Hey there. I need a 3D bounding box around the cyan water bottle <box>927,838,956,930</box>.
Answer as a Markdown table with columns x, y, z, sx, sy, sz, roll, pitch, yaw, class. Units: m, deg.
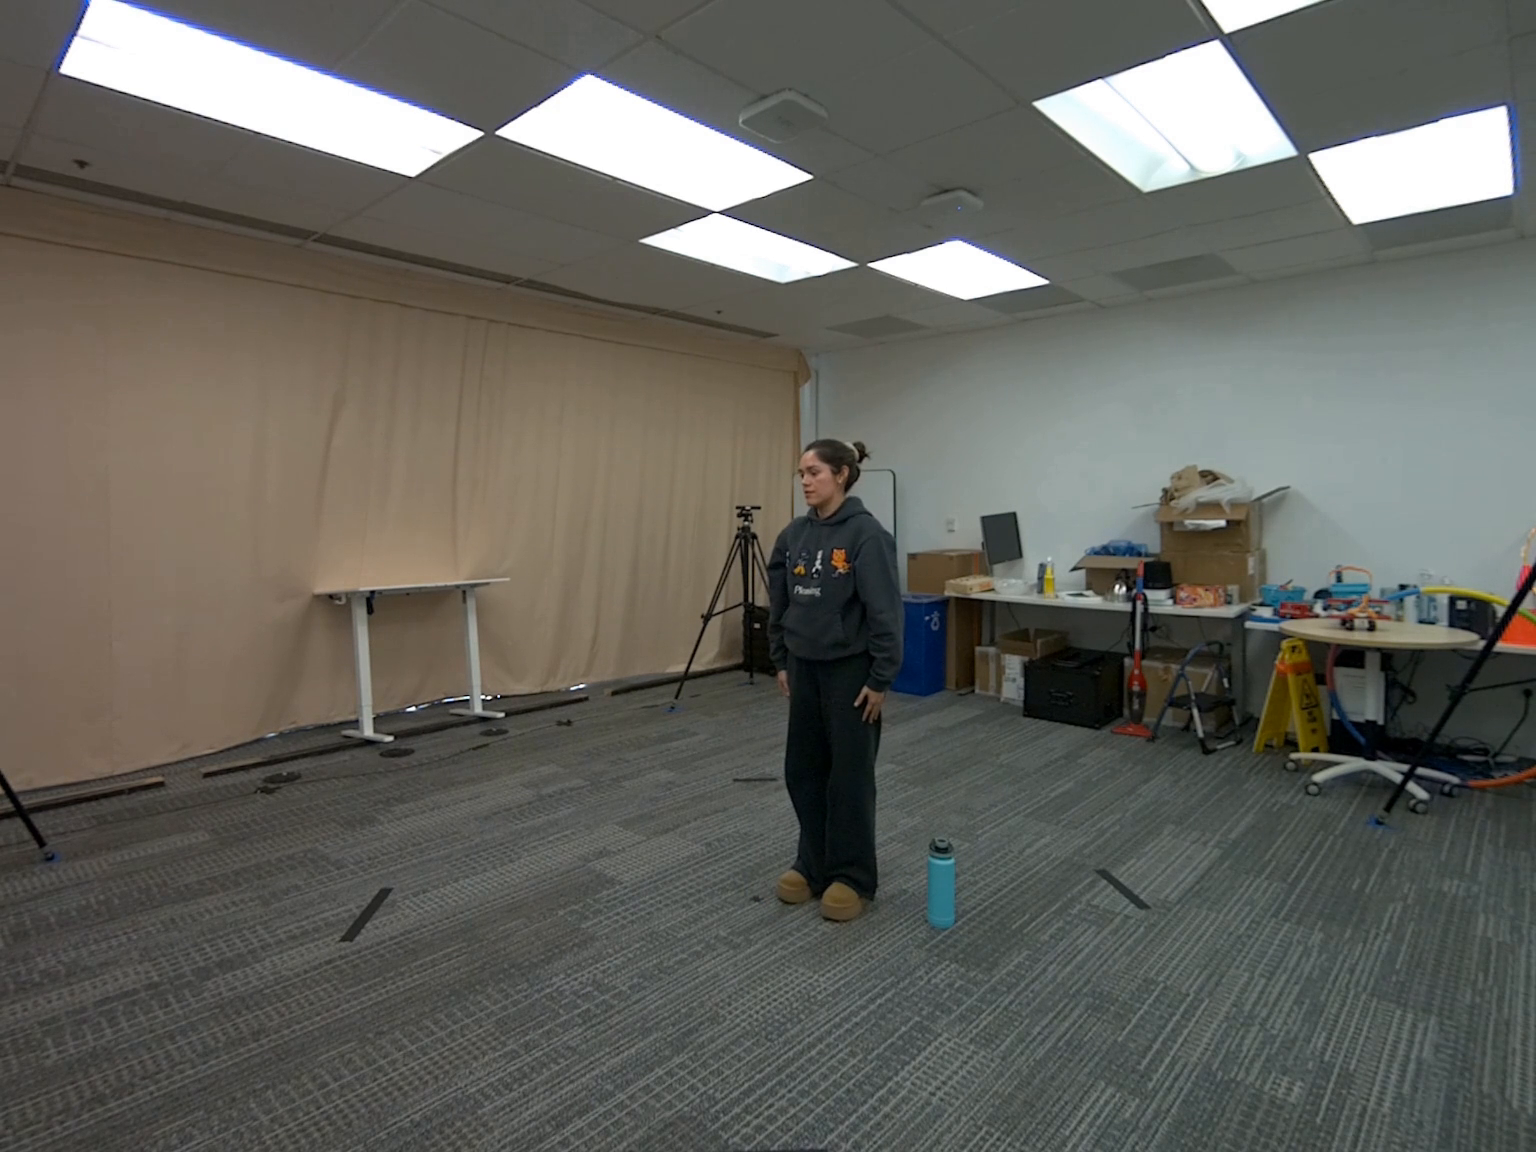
| x | y | z | sx | sy | sz | roll | pitch | yaw | class |
| --- | --- | --- | --- | --- | --- | --- | --- | --- | --- |
| 0.600 | 1.007 | 2.799 | 0.092 | 0.283 | 0.092 | -1 | 2 | -2 | cyan water bottle |
